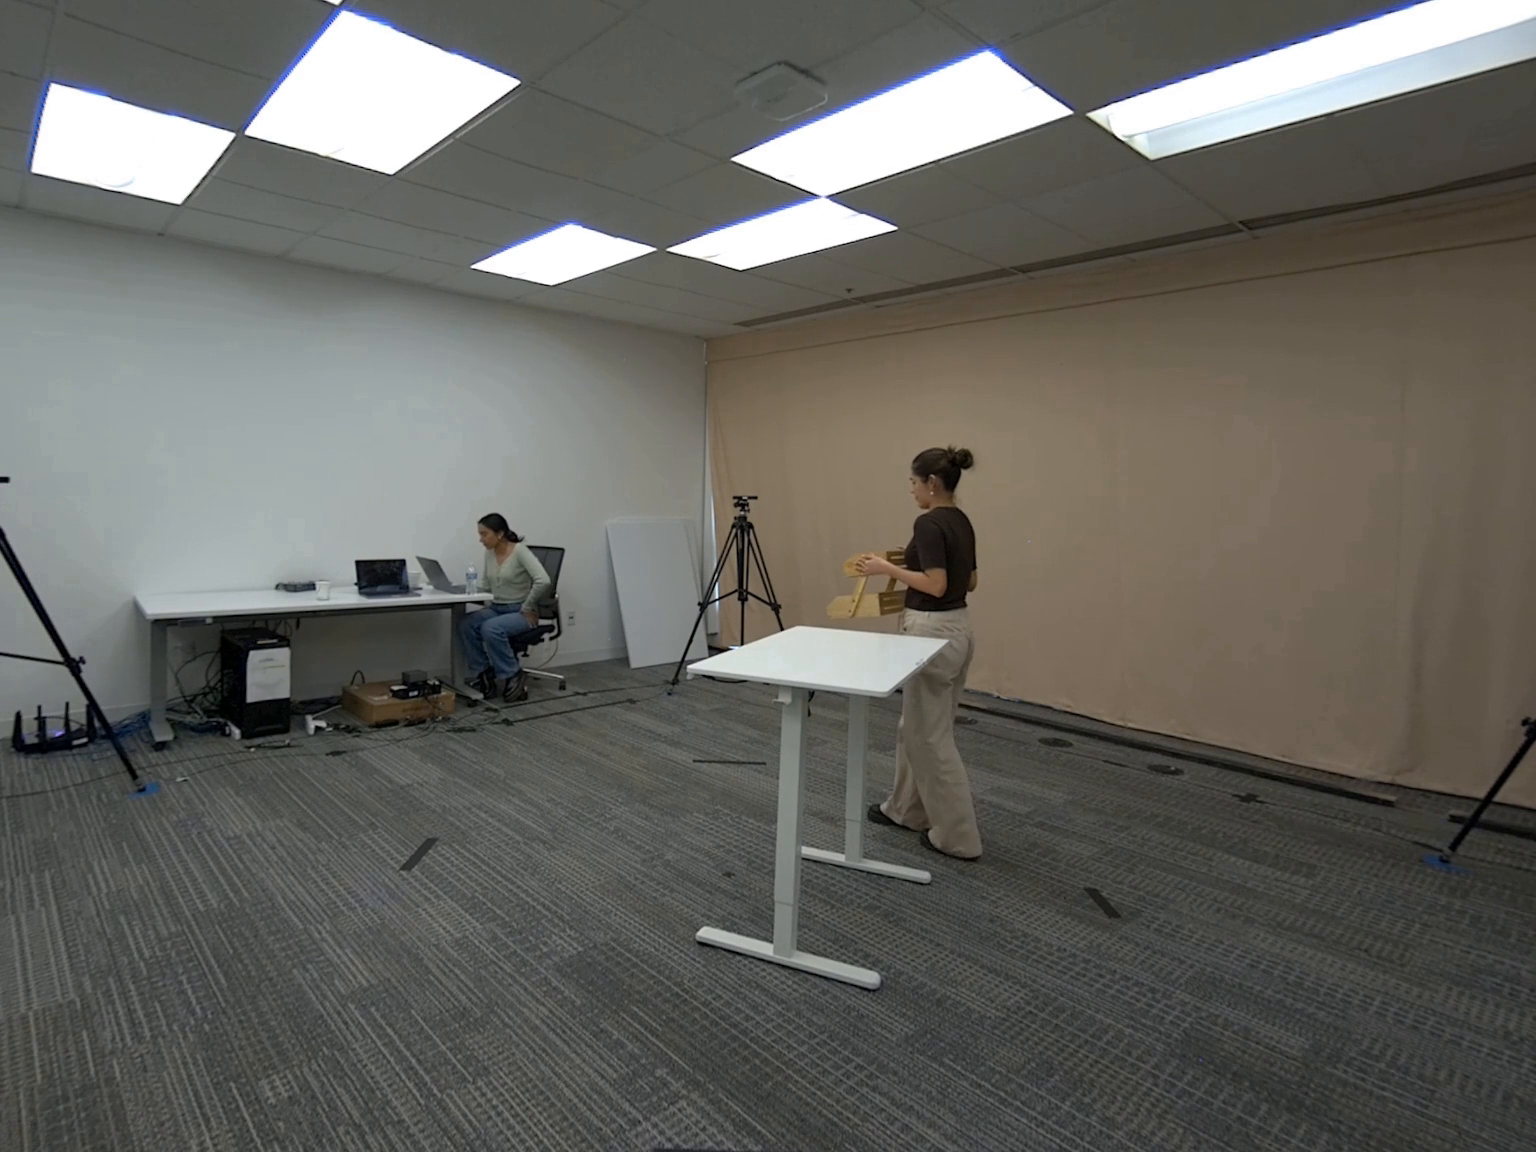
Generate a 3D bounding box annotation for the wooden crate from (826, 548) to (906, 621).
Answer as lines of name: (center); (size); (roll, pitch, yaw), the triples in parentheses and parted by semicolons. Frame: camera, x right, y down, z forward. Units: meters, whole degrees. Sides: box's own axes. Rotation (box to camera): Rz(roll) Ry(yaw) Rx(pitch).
wooden crate: (0.429, 0.026, 3.578); (0.308, 0.274, 0.317); (-5, -1, 34)
